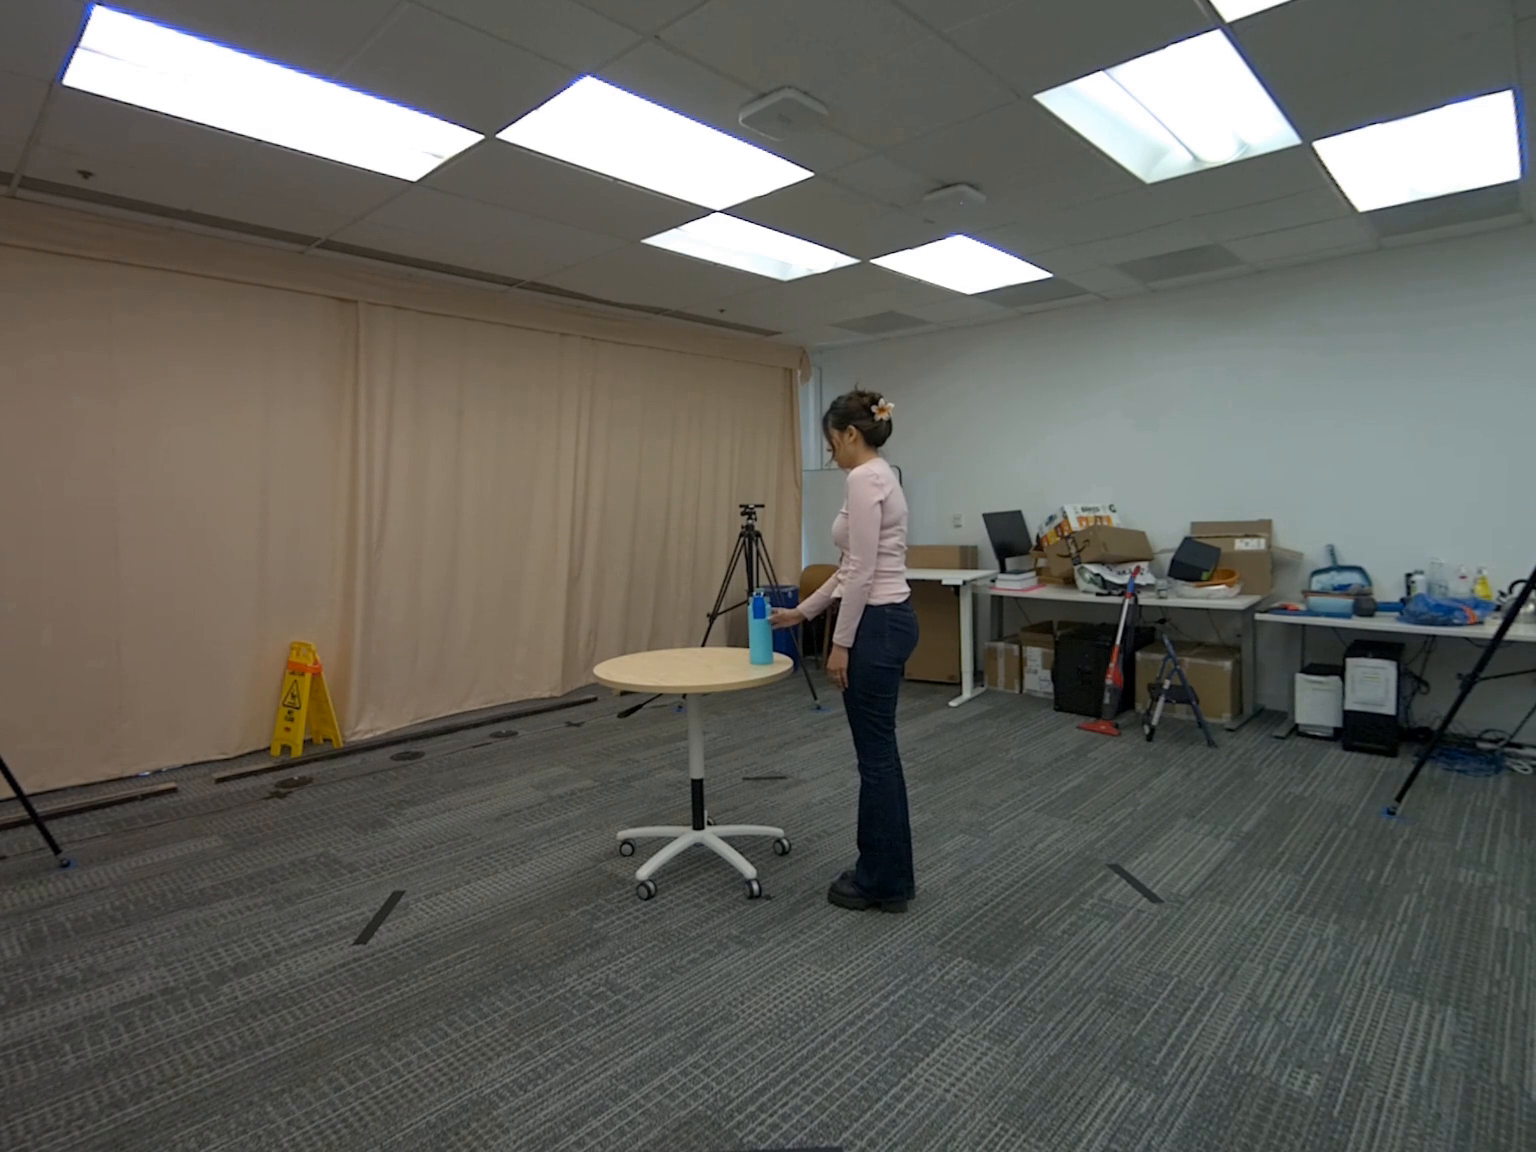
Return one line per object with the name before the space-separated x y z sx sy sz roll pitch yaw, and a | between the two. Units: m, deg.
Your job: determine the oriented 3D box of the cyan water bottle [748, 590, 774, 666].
cyan water bottle | -0.025 0.197 3.215 0.092 0.282 0.093 -1 4 -2
